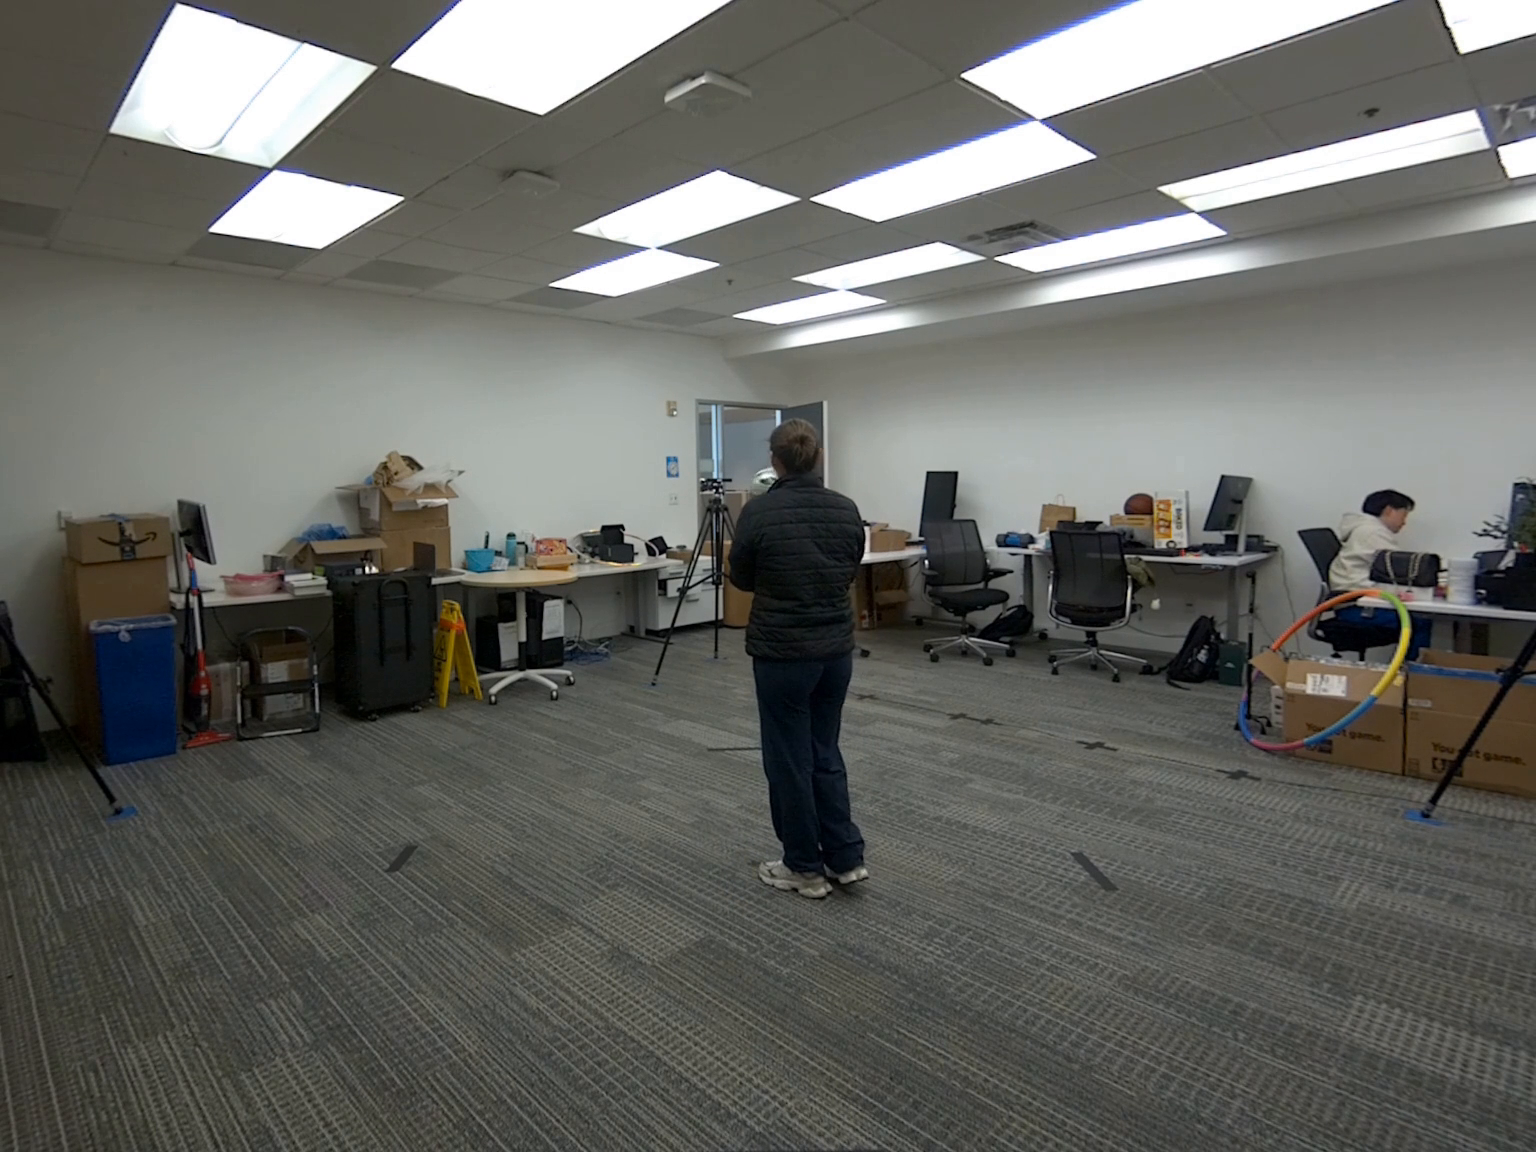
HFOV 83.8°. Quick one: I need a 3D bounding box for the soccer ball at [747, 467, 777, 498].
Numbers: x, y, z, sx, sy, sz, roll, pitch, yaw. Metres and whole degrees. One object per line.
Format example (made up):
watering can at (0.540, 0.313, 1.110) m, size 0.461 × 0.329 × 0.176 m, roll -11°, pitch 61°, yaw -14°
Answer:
soccer ball at (0.040, -0.309, 3.168) m, size 0.187 × 0.187 × 0.188 m, roll -1°, pitch 5°, yaw -2°
